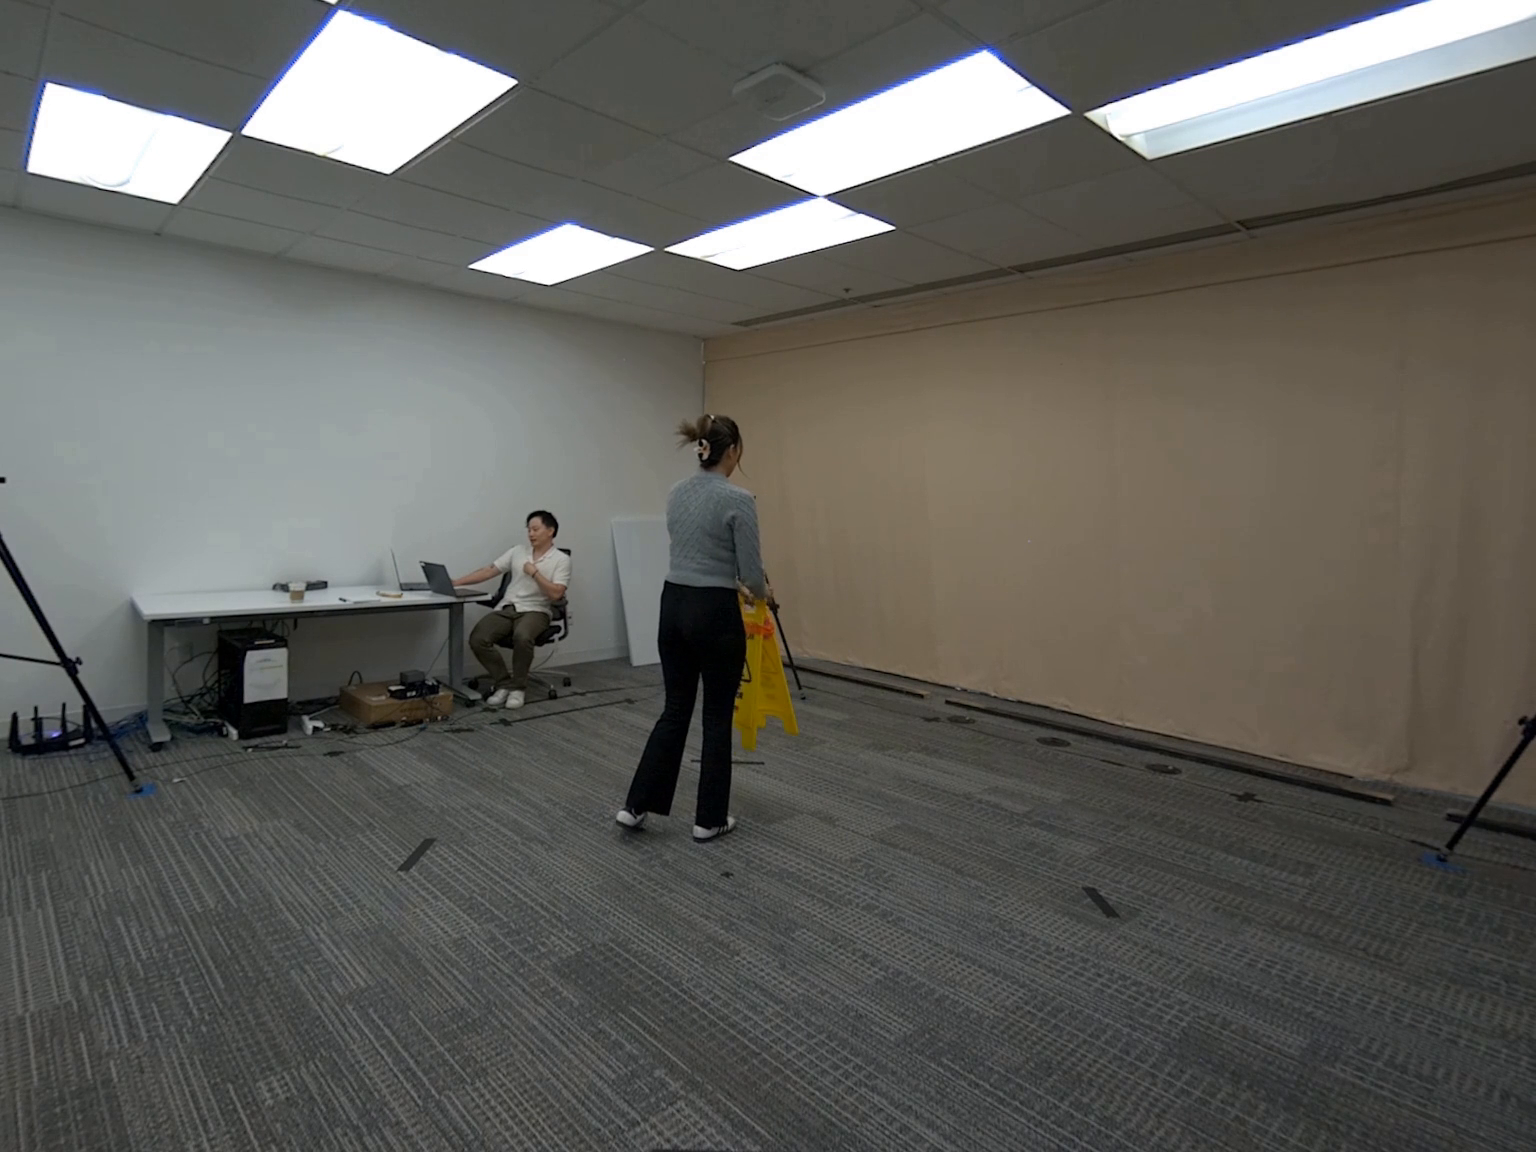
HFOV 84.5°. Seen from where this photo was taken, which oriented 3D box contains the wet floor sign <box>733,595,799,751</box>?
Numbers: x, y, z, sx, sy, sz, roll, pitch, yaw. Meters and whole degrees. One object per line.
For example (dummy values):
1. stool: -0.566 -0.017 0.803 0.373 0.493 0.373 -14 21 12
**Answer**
1. wet floor sign: -0.079 0.405 3.761 0.283 0.644 0.289 -5 6 -43
